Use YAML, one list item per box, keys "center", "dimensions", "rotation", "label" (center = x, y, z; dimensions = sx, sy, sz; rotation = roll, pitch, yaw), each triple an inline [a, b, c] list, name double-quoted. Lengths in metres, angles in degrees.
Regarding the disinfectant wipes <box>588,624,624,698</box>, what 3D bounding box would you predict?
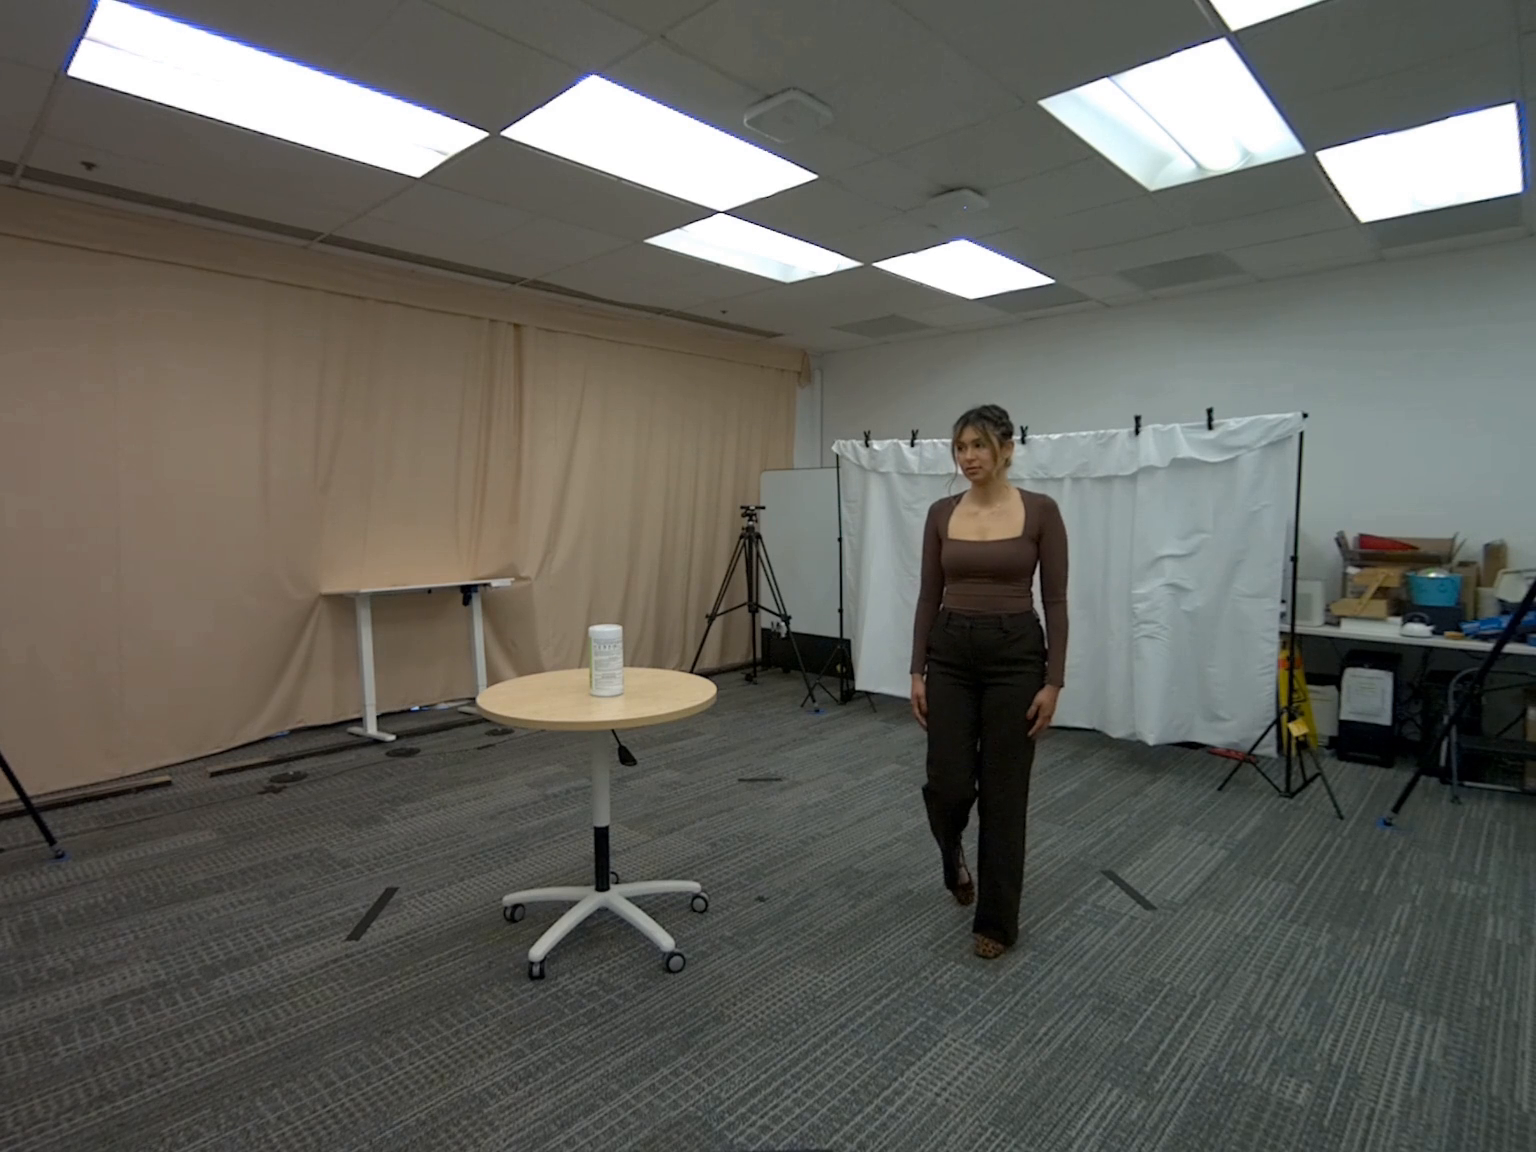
- center: [-0.511, 0.273, 2.680]
  dimensions: [0.118, 0.217, 0.118]
  rotation: [-2, 2, -2]
  label: "disinfectant wipes"
